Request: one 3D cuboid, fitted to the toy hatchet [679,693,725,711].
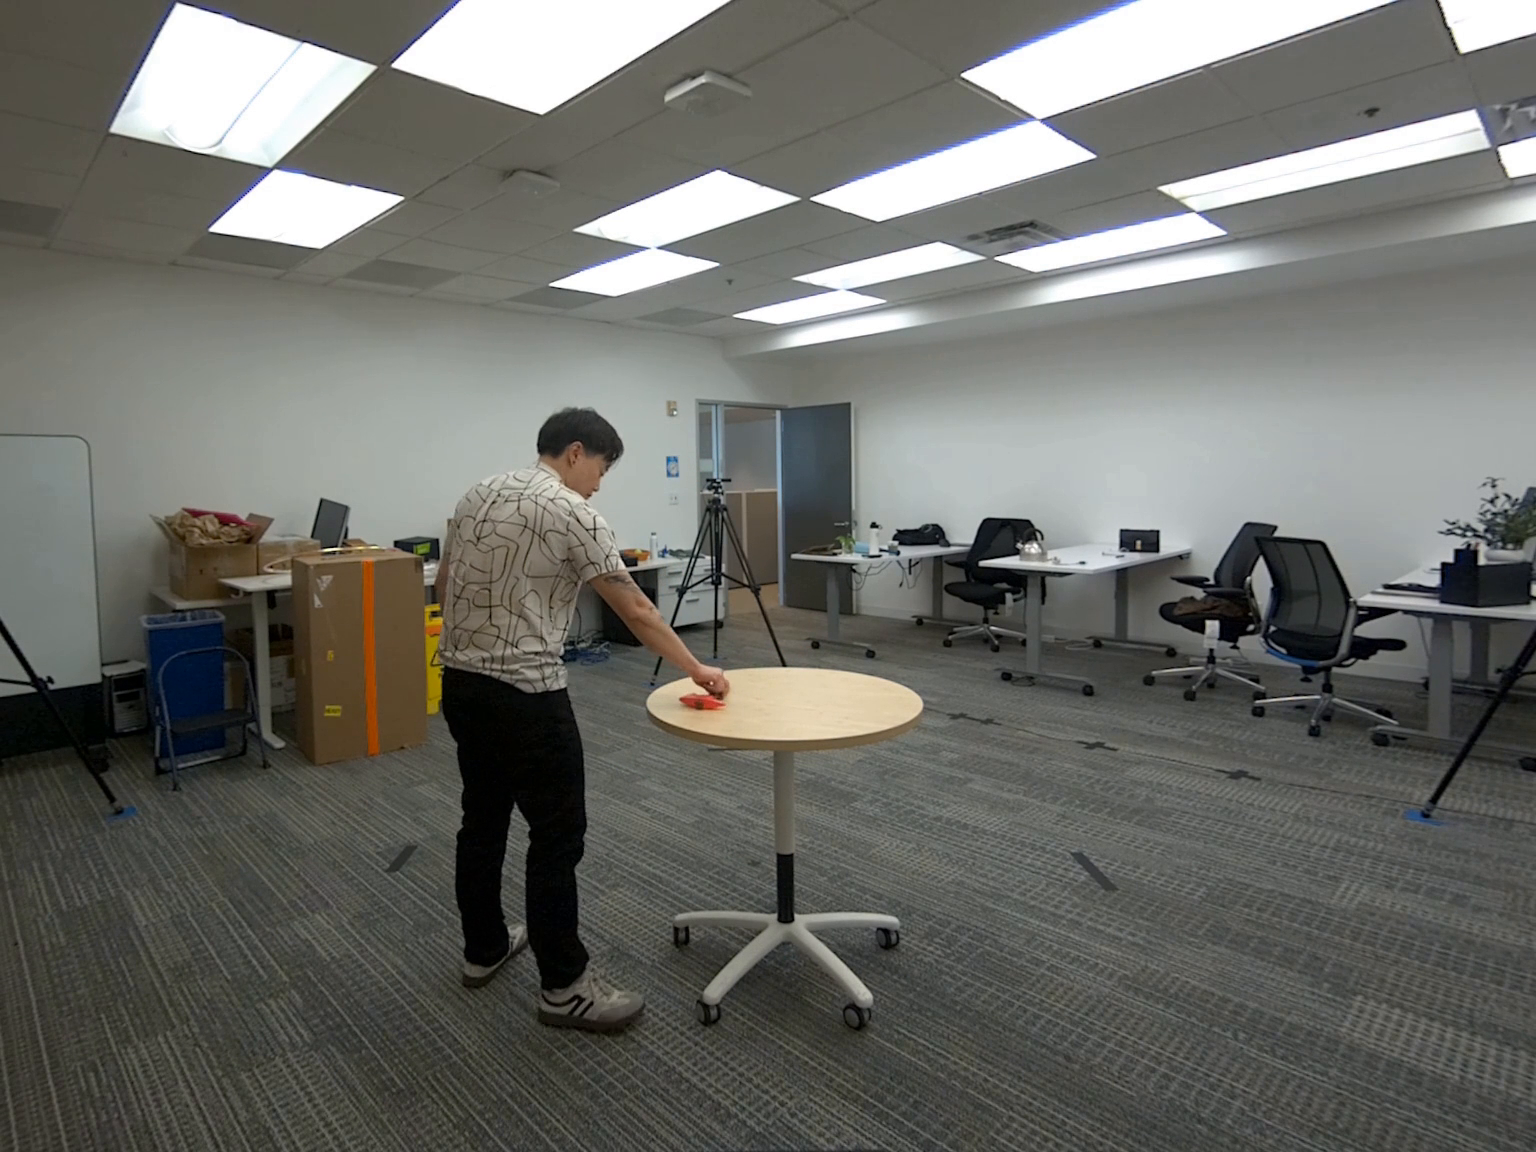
[{"bbox_3d":[-0.174,0.331,2.413,0.131,0.029,0.271,0,6,-3],"label":"toy hatchet"}]
